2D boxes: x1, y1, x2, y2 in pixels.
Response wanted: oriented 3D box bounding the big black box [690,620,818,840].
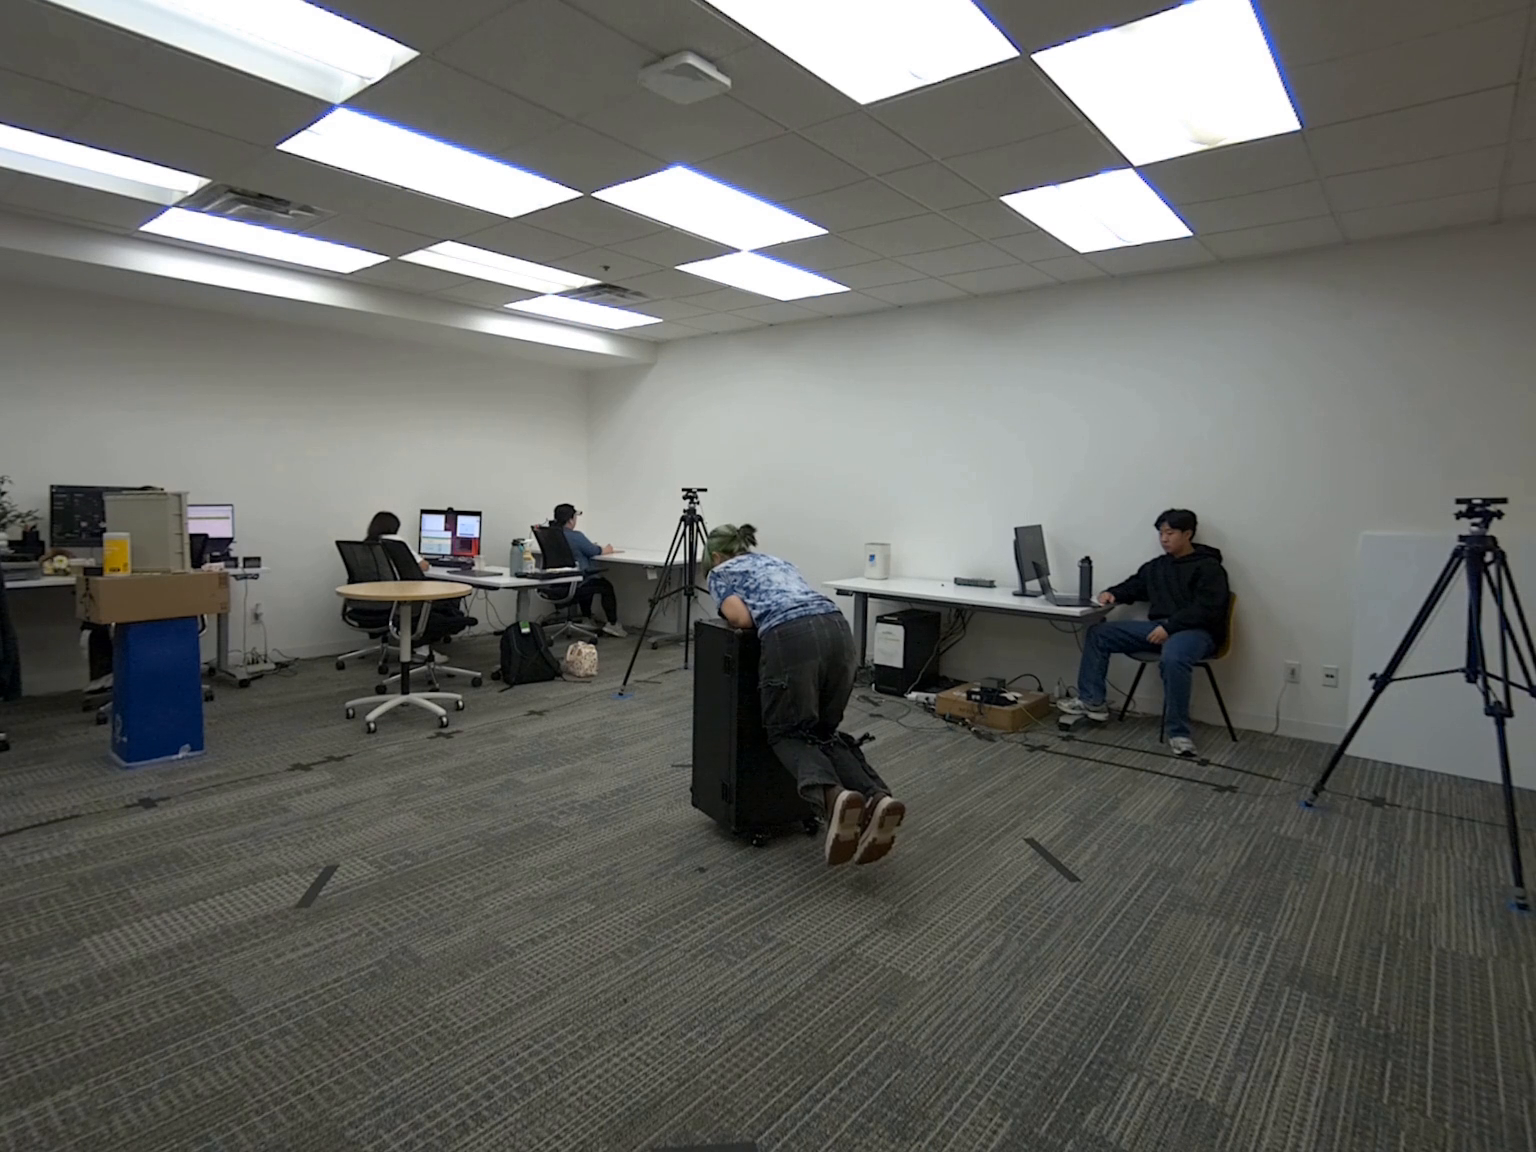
[{"bbox_3d":[-0.033,0.556,3.518,0.507,0.860,0.408,0,3,-32],"label":"big black box"}]
